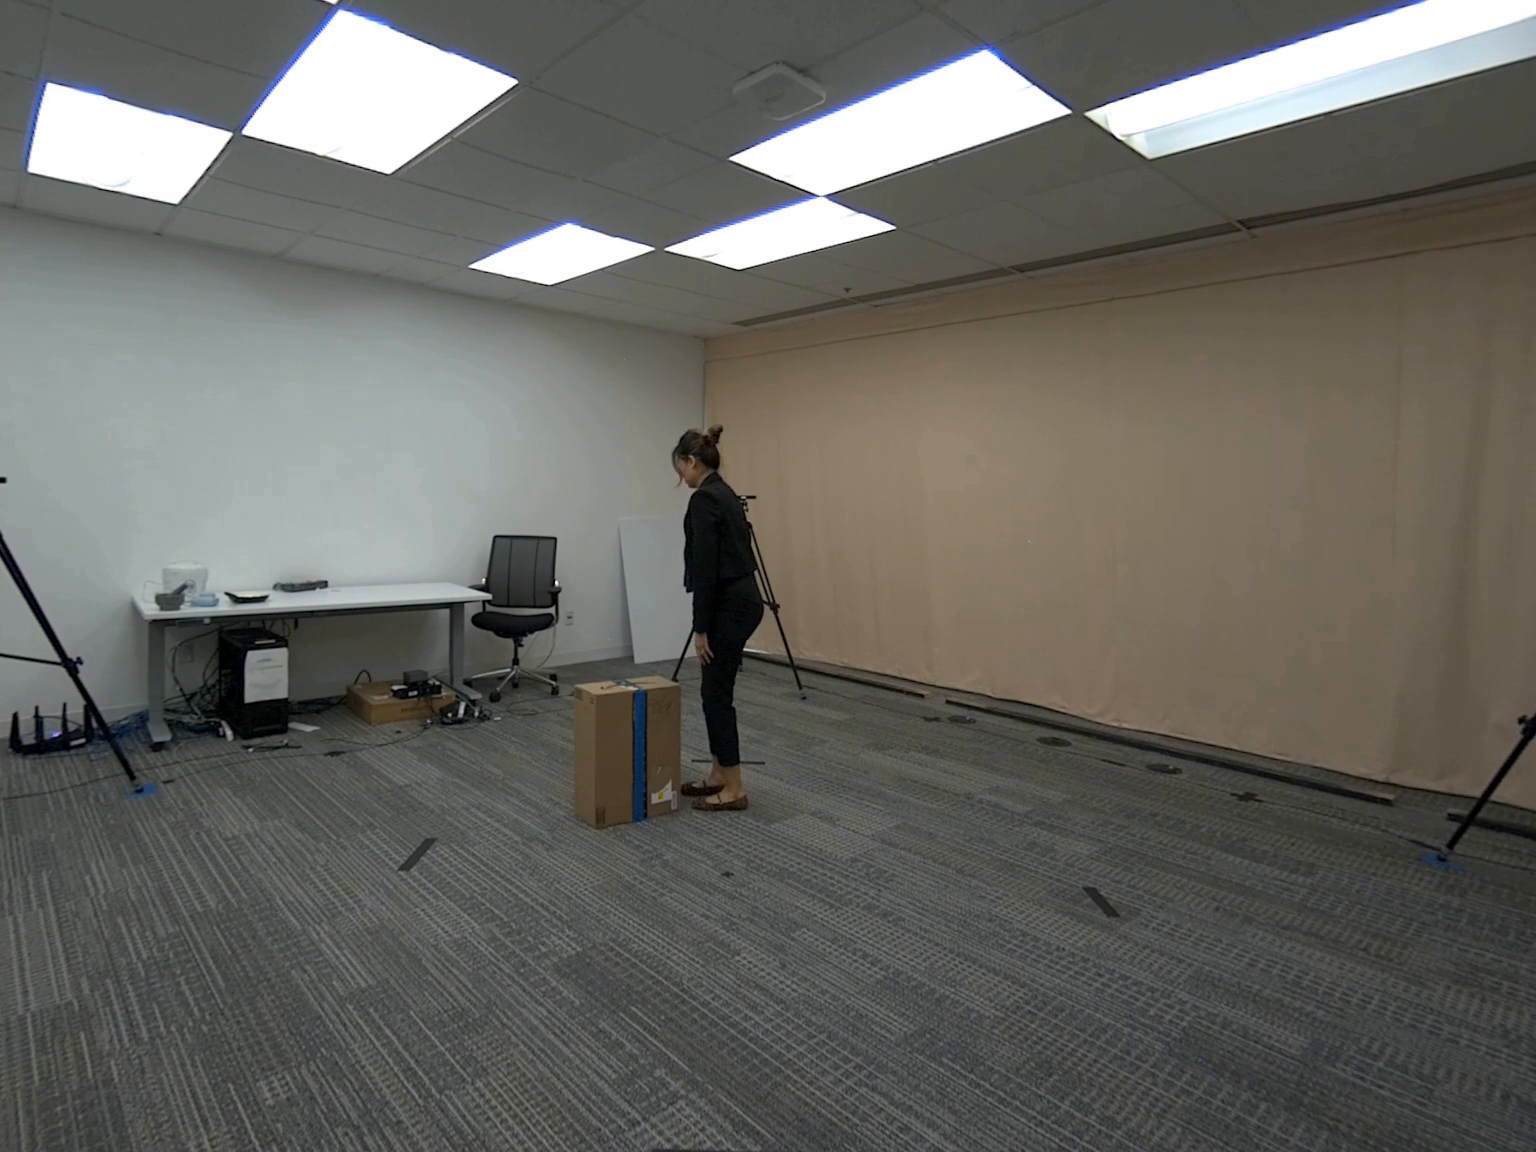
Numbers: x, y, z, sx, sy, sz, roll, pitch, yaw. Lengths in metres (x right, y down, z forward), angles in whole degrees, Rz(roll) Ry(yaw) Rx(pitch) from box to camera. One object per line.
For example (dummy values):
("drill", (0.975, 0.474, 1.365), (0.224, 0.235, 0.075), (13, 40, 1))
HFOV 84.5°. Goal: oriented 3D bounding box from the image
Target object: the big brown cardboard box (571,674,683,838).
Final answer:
("big brown cardboard box", (-0.613, 0.760, 3.675), (0.409, 0.587, 0.239), (-3, 4, -35))
